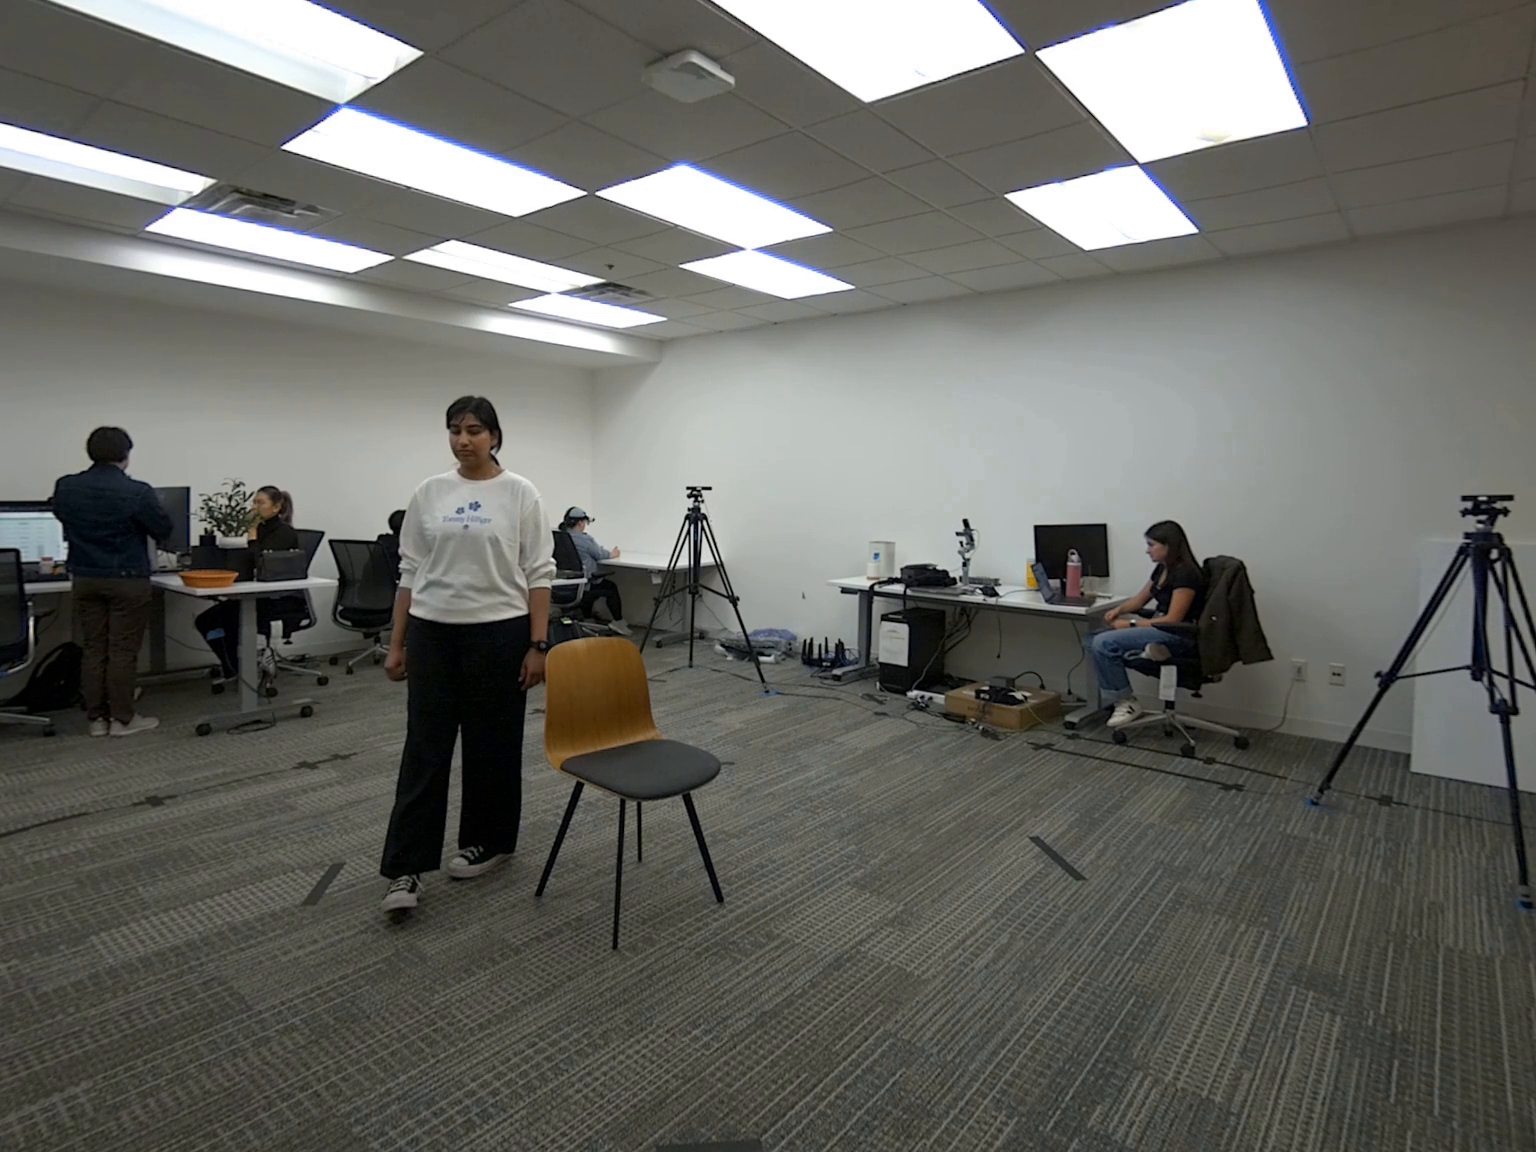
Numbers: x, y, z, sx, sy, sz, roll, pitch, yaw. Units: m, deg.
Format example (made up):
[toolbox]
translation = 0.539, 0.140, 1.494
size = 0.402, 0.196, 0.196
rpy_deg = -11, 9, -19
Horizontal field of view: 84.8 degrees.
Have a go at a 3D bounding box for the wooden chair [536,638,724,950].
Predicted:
[wooden chair]
translation = -0.456, 0.662, 2.825
size = 0.463, 0.878, 0.539
rpy_deg = -2, 0, -45
